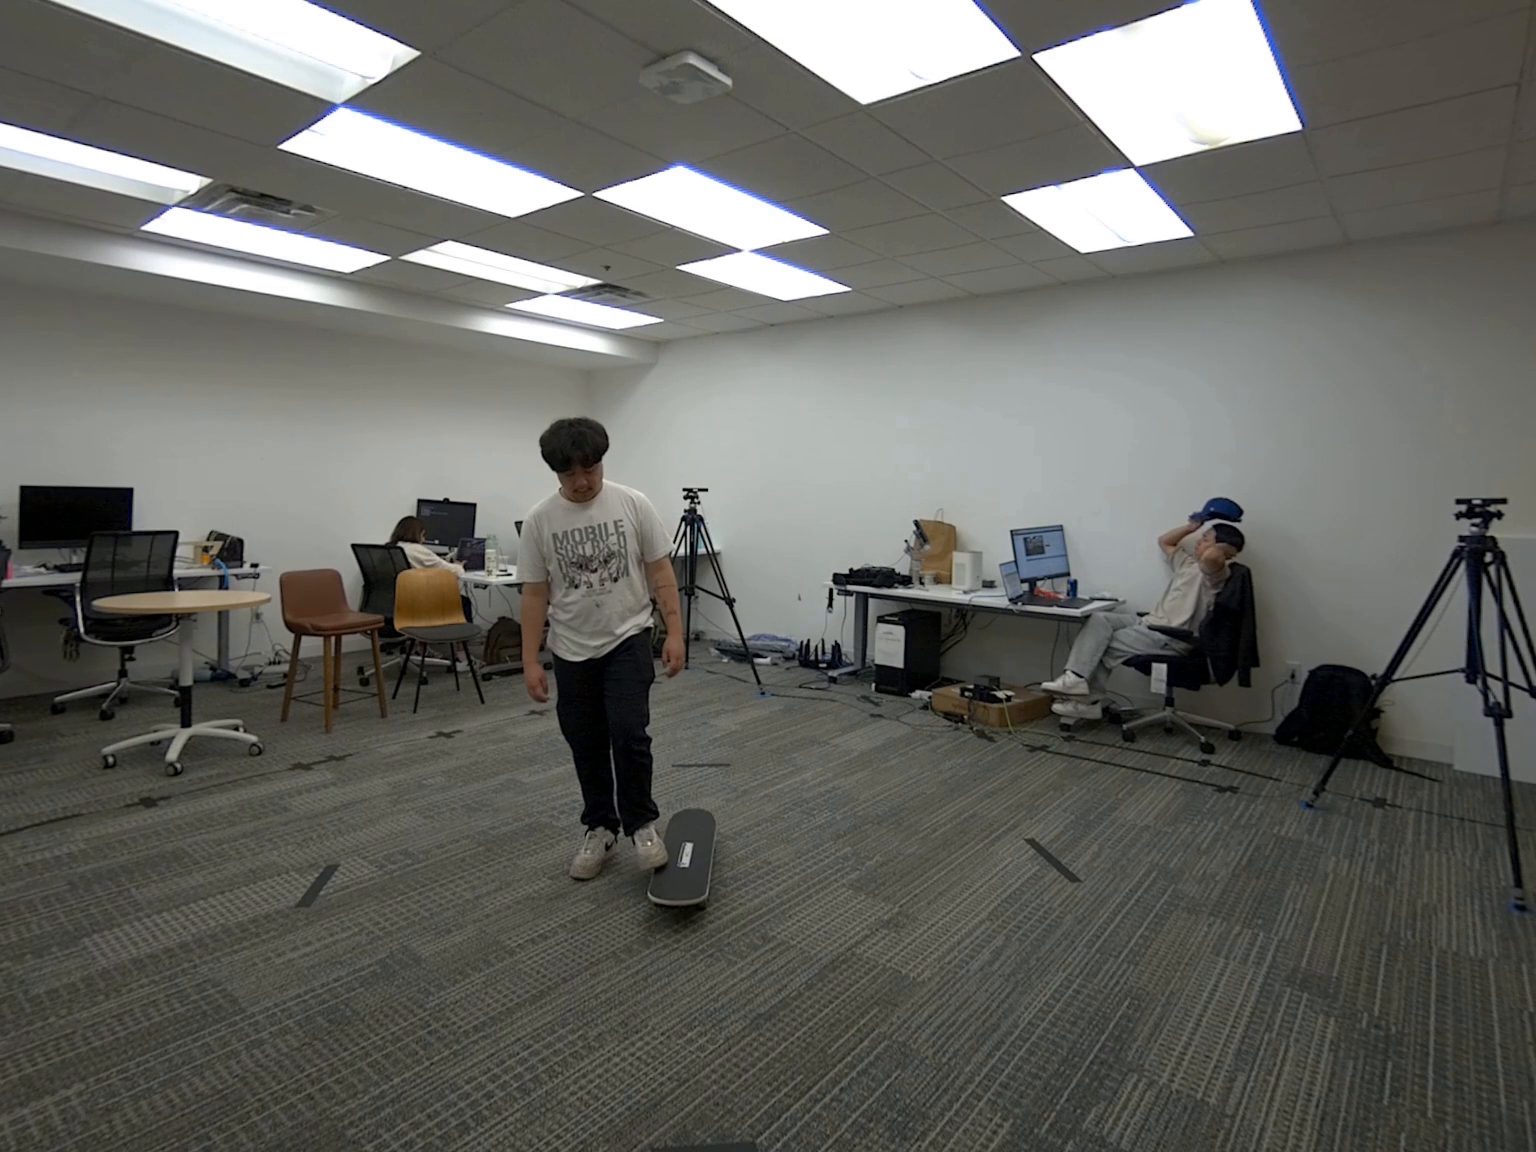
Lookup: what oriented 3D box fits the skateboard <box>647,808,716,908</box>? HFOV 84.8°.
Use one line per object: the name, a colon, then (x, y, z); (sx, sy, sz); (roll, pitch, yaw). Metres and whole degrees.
skateboard: (-0.302, 1.019, 3.020); (0.194, 0.110, 0.787); (0, 5, 0)
